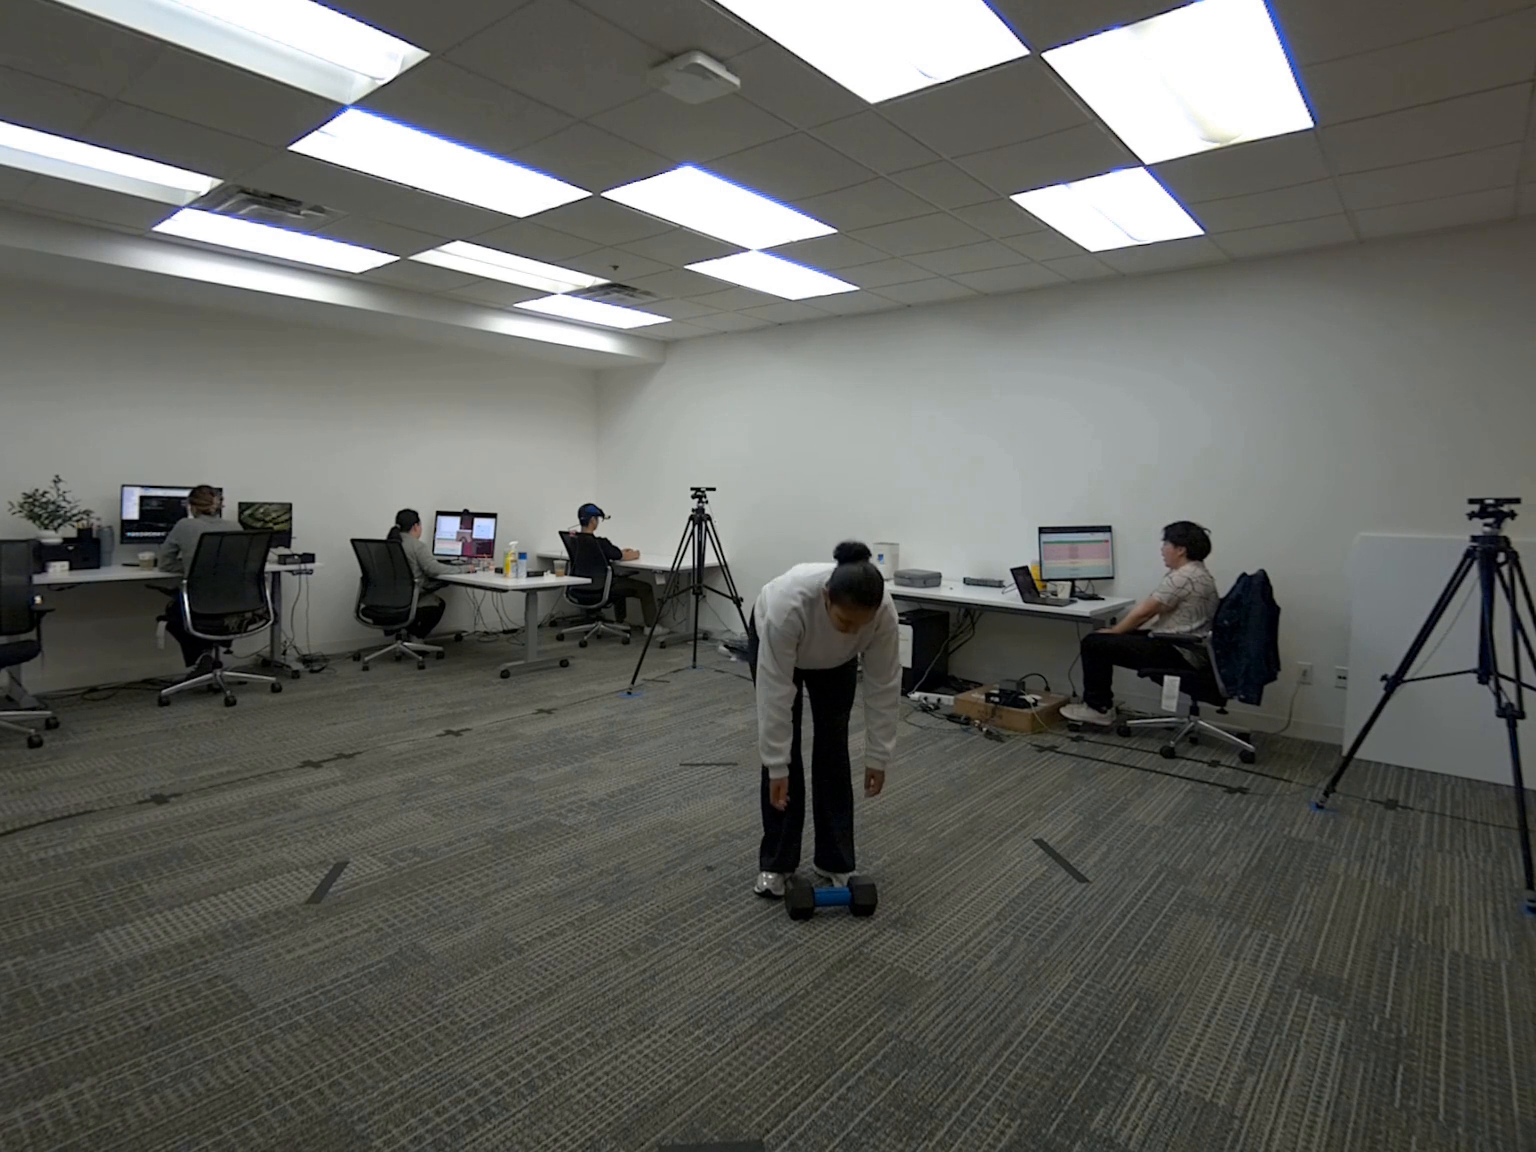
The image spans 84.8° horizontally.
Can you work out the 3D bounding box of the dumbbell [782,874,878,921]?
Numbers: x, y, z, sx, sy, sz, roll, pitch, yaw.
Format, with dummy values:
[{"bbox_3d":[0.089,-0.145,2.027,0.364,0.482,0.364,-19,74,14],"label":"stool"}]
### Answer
[{"bbox_3d":[0.200,1.051,2.801,0.290,0.120,0.112,1,34,-10],"label":"dumbbell"}]
